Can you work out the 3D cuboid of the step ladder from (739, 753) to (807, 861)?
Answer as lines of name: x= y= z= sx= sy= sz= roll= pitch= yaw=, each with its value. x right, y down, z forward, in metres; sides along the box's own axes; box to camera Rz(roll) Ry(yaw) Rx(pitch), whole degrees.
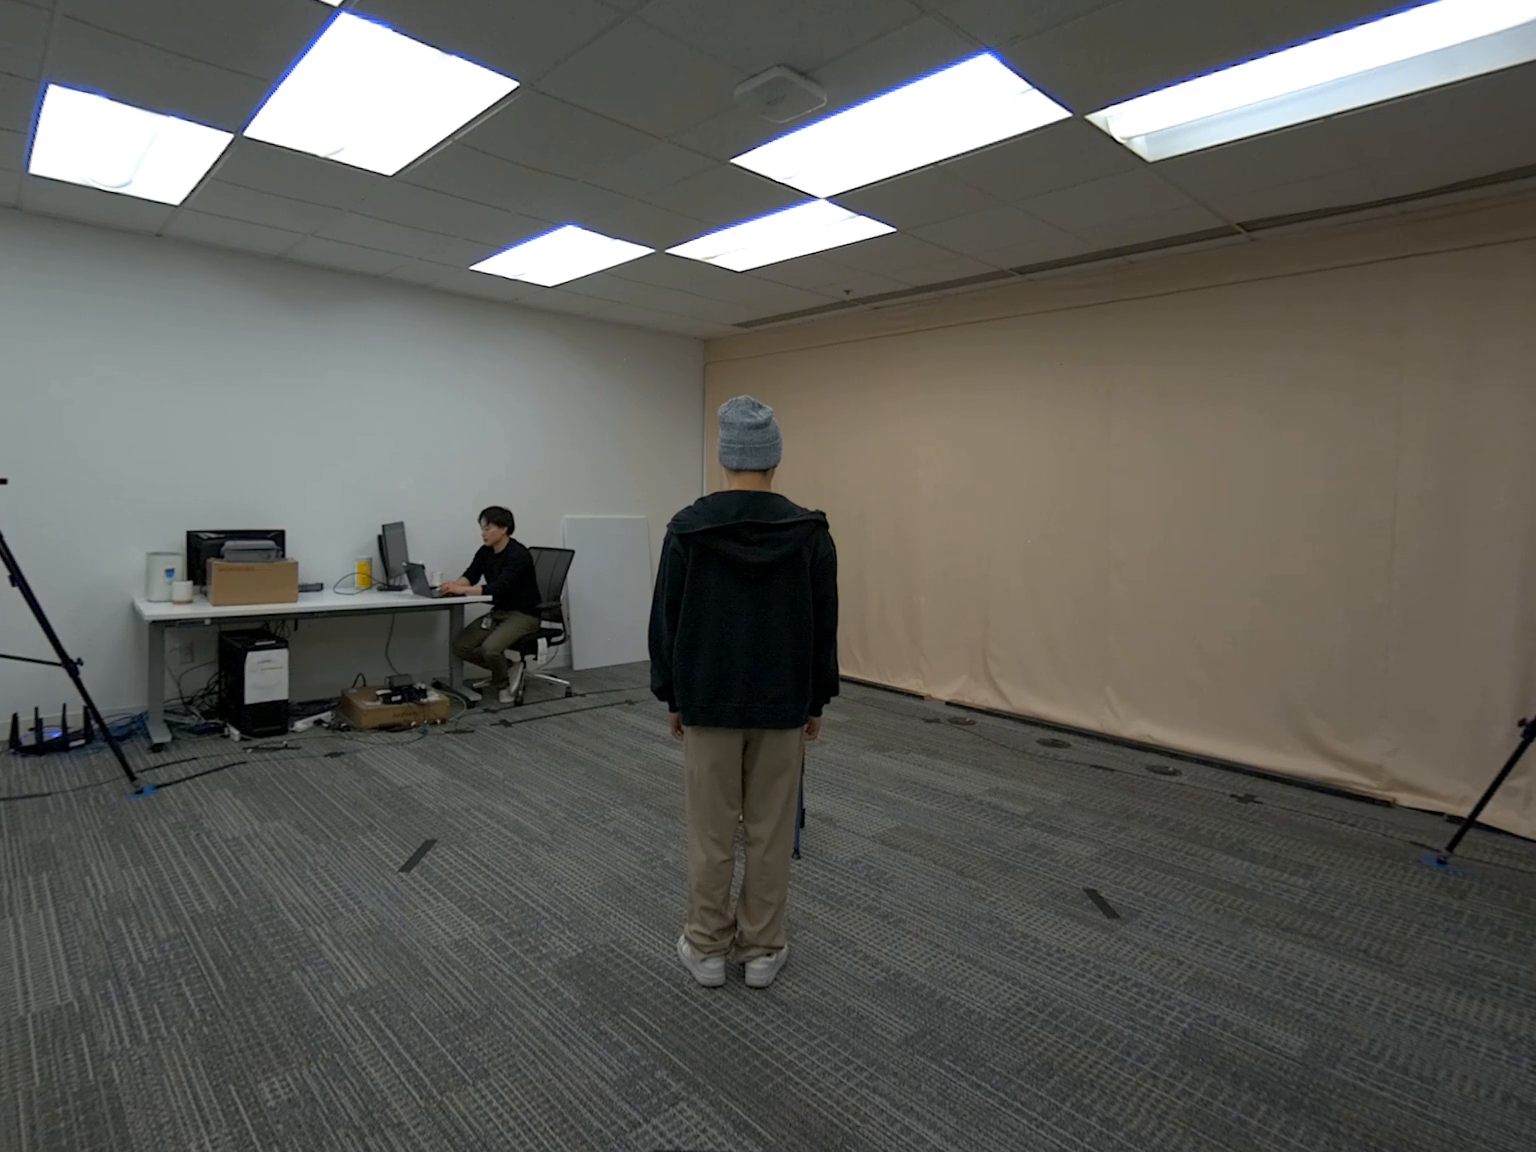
step ladder: x=-0.062 y=0.780 z=3.455 sx=0.433 sy=0.605 sz=0.348 roll=2 pitch=3 yaw=7
